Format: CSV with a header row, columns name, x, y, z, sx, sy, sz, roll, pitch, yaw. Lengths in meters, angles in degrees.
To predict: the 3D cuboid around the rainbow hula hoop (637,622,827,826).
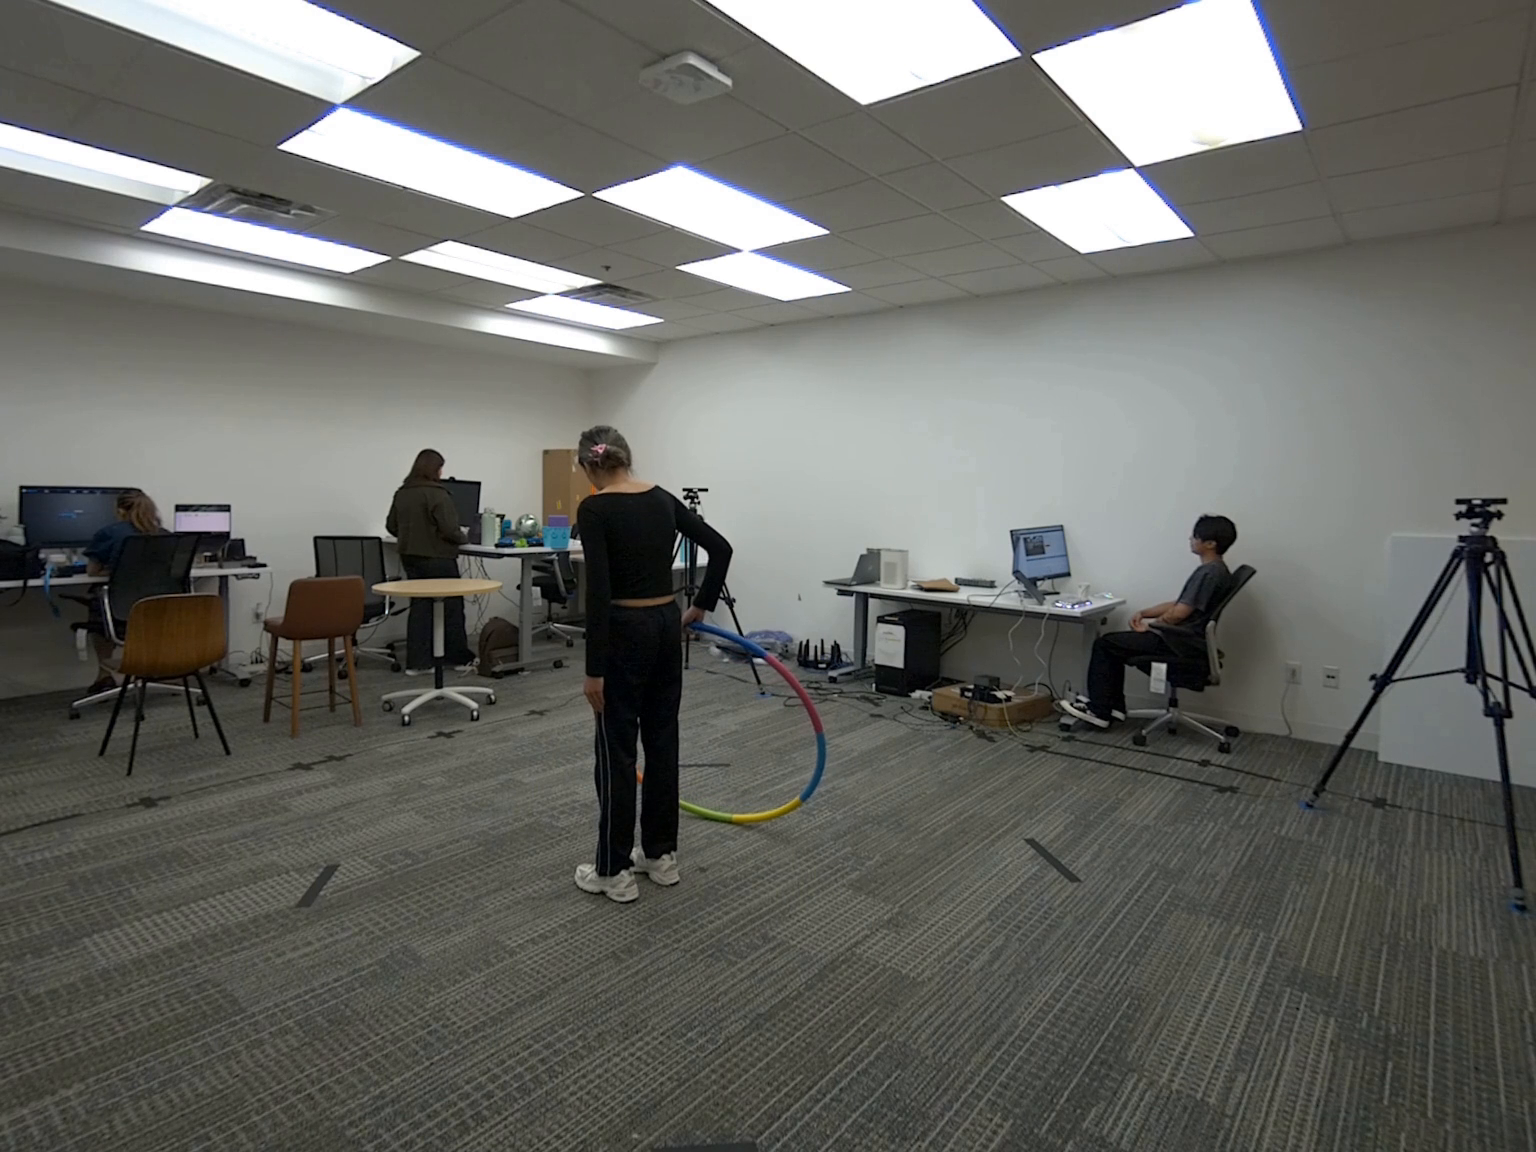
name,x,y,z,sx,sy,sz,roll,pitch,yaw
rainbow hula hoop,-0.256,0.592,3.366,1.001,0.953,0.036,3,29,21
